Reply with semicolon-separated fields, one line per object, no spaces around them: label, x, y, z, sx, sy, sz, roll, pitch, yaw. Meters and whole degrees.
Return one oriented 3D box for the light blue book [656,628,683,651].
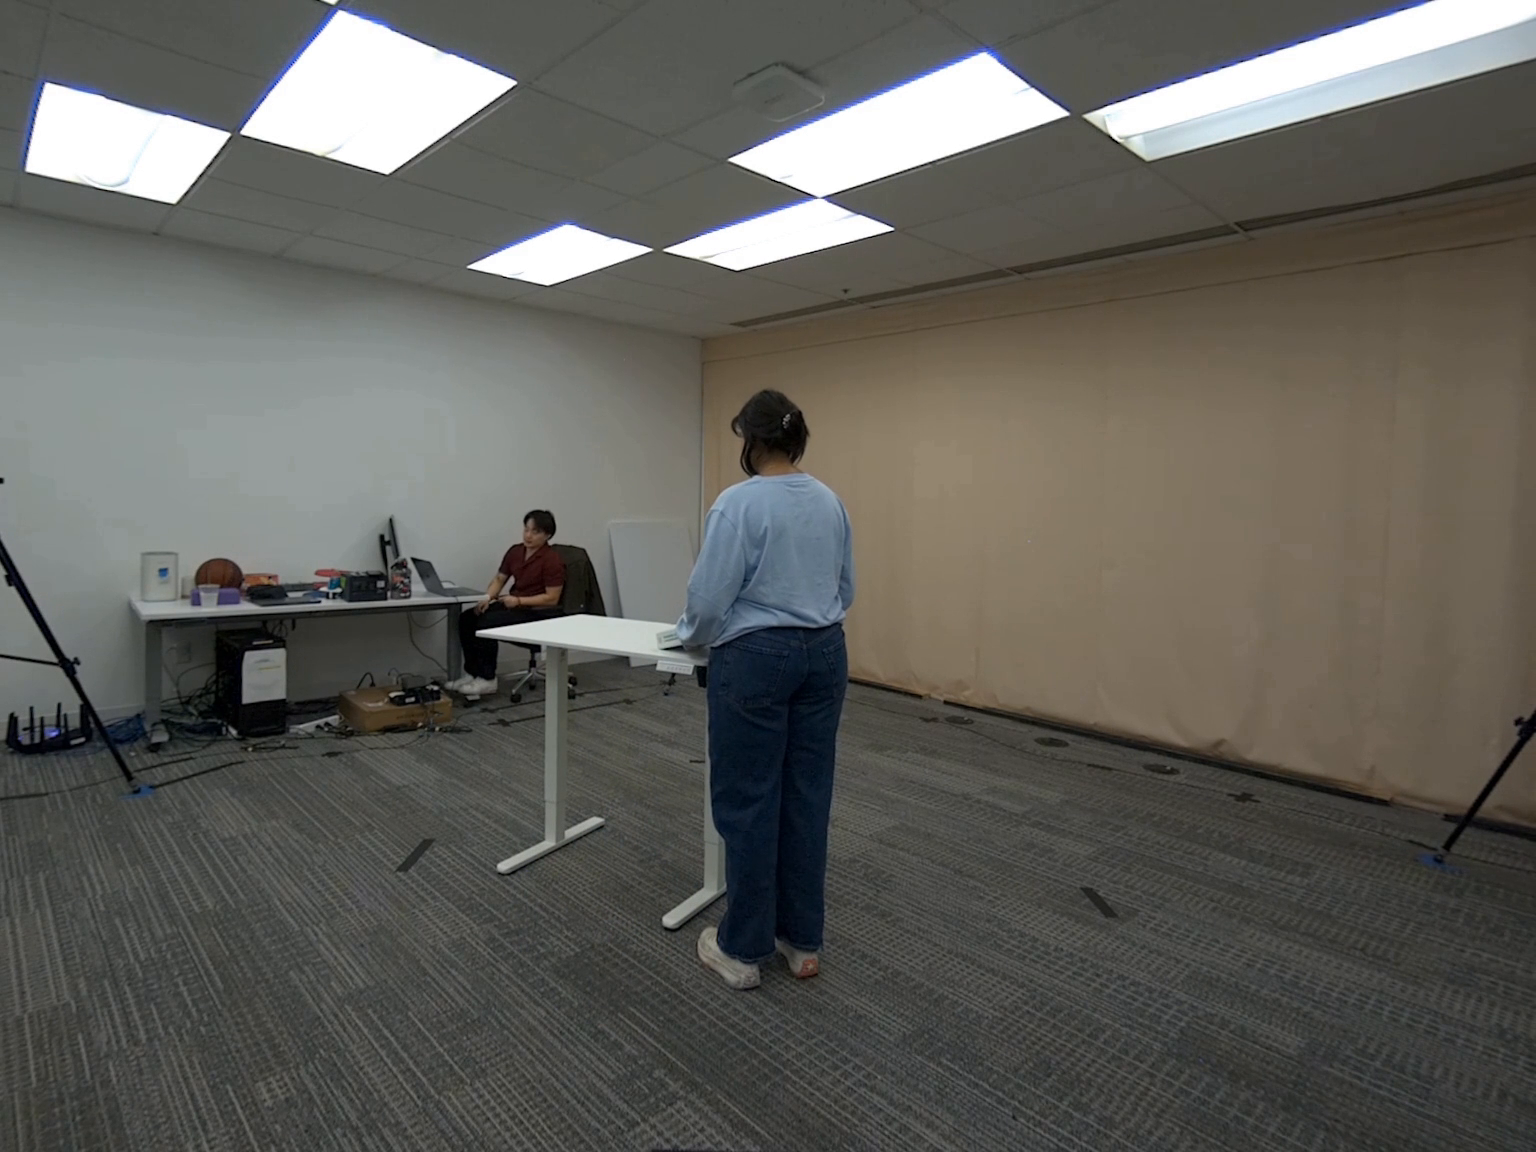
light blue book;-0.221;0.191;2.750;0.187;0.059;0.265;-4;-8;-40
